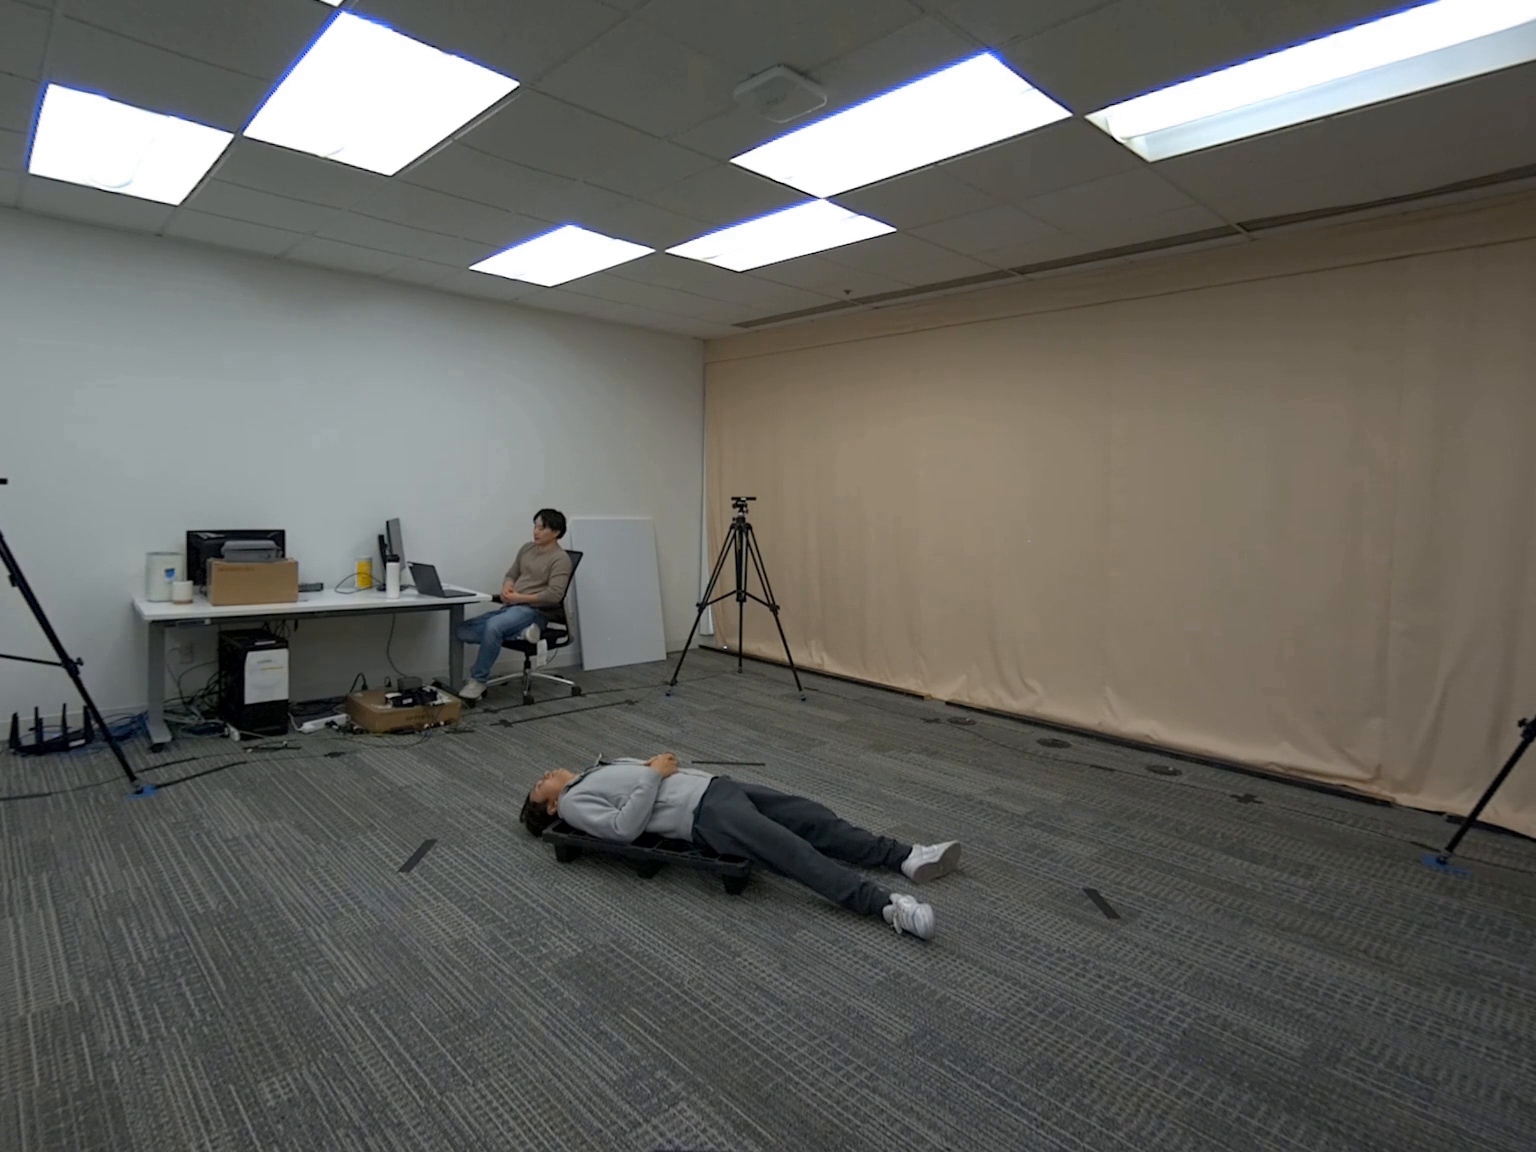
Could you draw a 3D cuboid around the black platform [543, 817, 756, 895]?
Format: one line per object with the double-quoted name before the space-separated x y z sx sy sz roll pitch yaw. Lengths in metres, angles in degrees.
"black platform" -0.388 1.014 3.288 0.818 0.143 0.598 1 5 19
